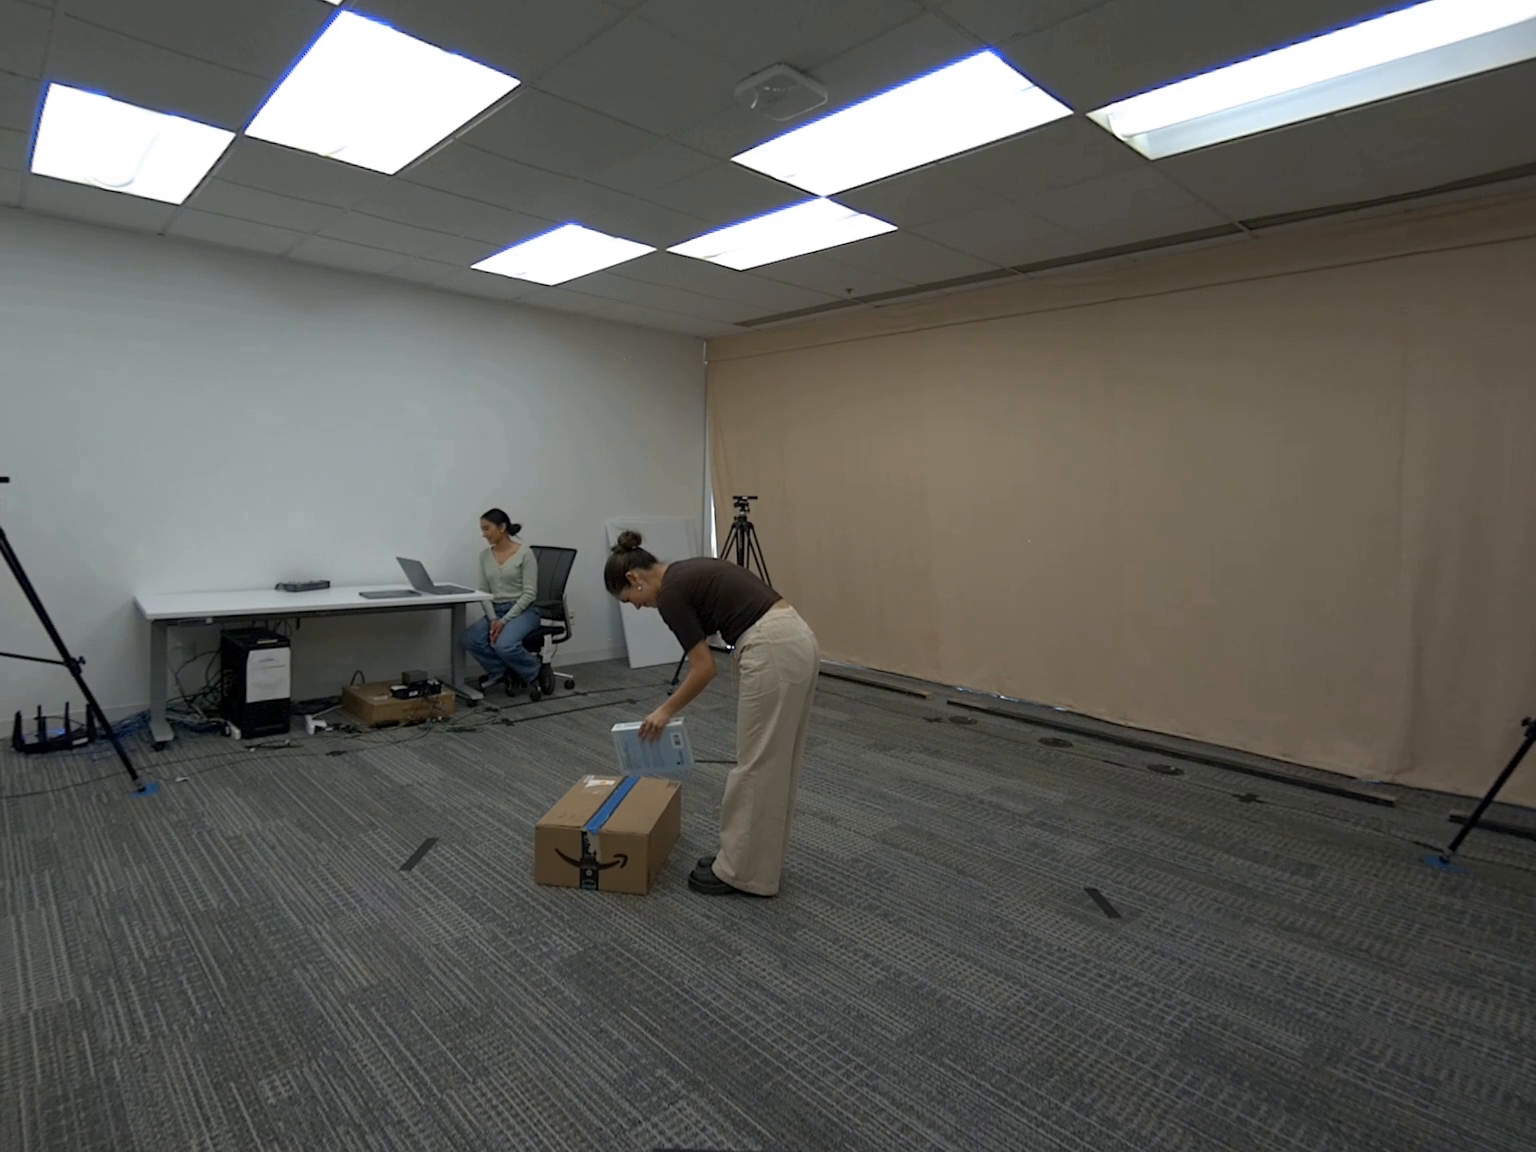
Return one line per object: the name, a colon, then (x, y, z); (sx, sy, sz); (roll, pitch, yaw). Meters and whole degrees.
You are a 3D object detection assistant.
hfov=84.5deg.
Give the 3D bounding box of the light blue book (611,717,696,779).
light blue book: (-0.408, 0.610, 3.009); (0.263, 0.189, 0.059); (-5, 15, 11)
